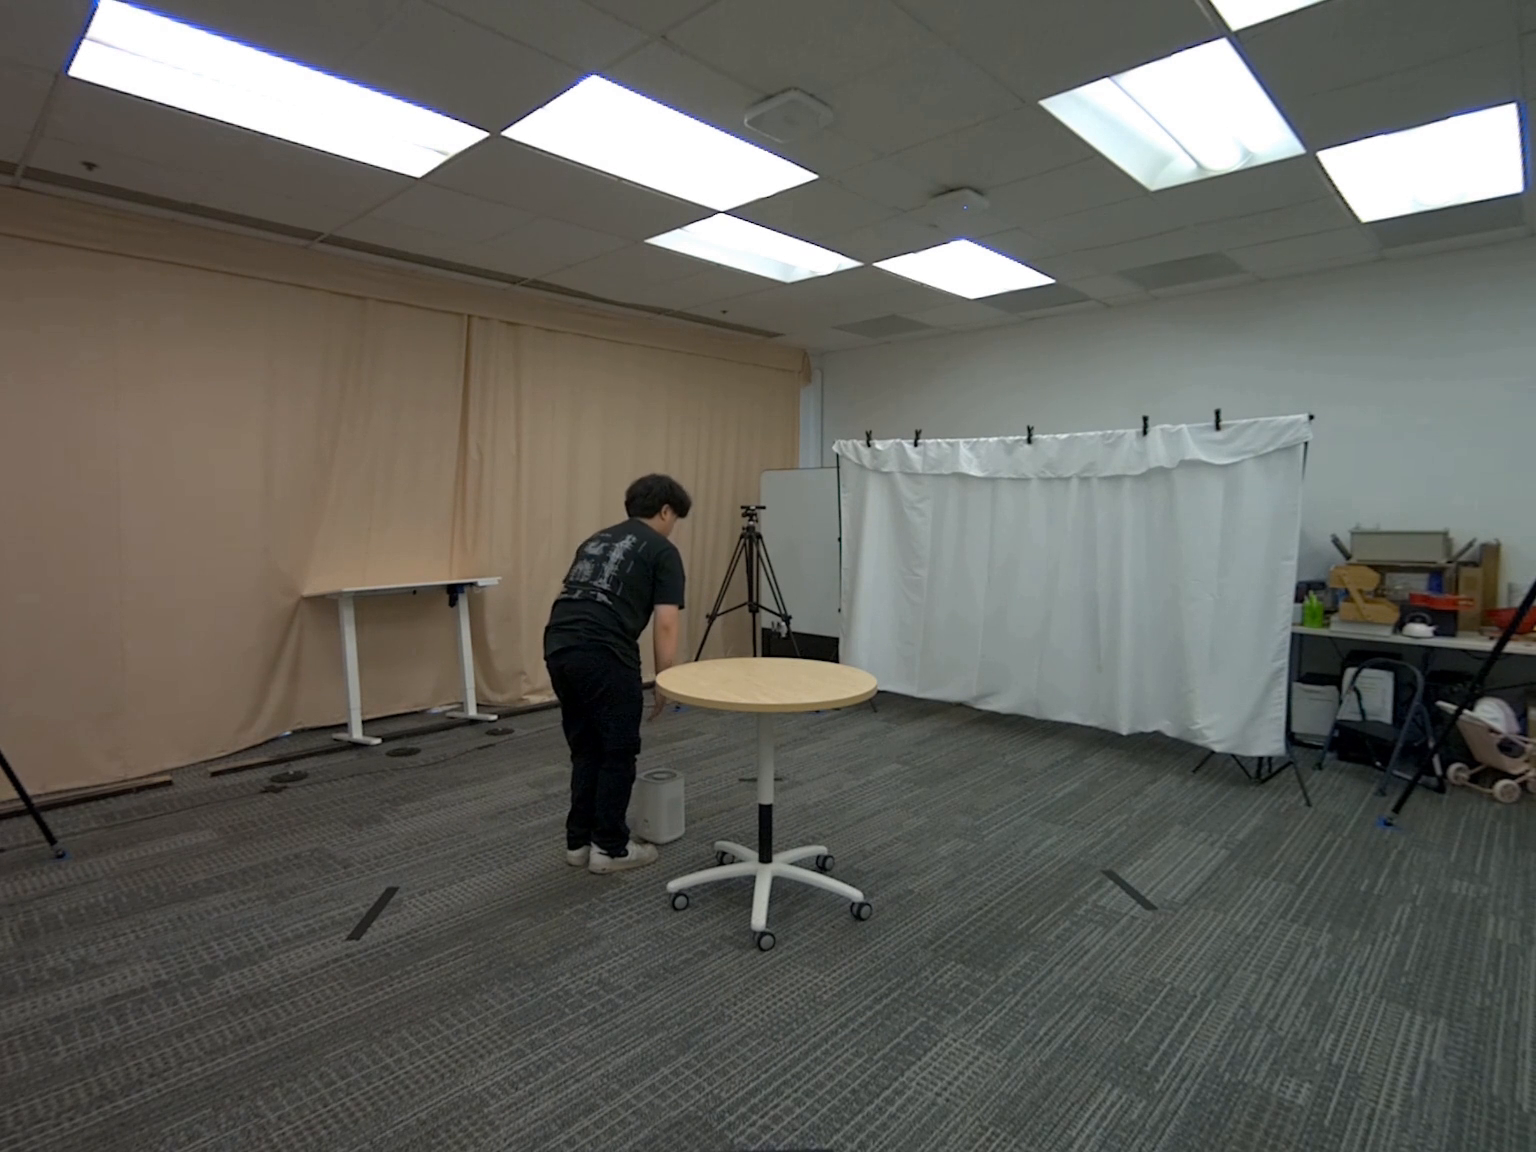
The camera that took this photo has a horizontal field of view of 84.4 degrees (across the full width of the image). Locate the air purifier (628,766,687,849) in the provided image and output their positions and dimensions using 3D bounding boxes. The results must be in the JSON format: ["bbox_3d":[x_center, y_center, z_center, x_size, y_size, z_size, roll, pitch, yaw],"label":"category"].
[{"bbox_3d":[-0.466,0.959,3.539,0.176,0.265,0.166,1,3,41],"label":"air purifier"}]
